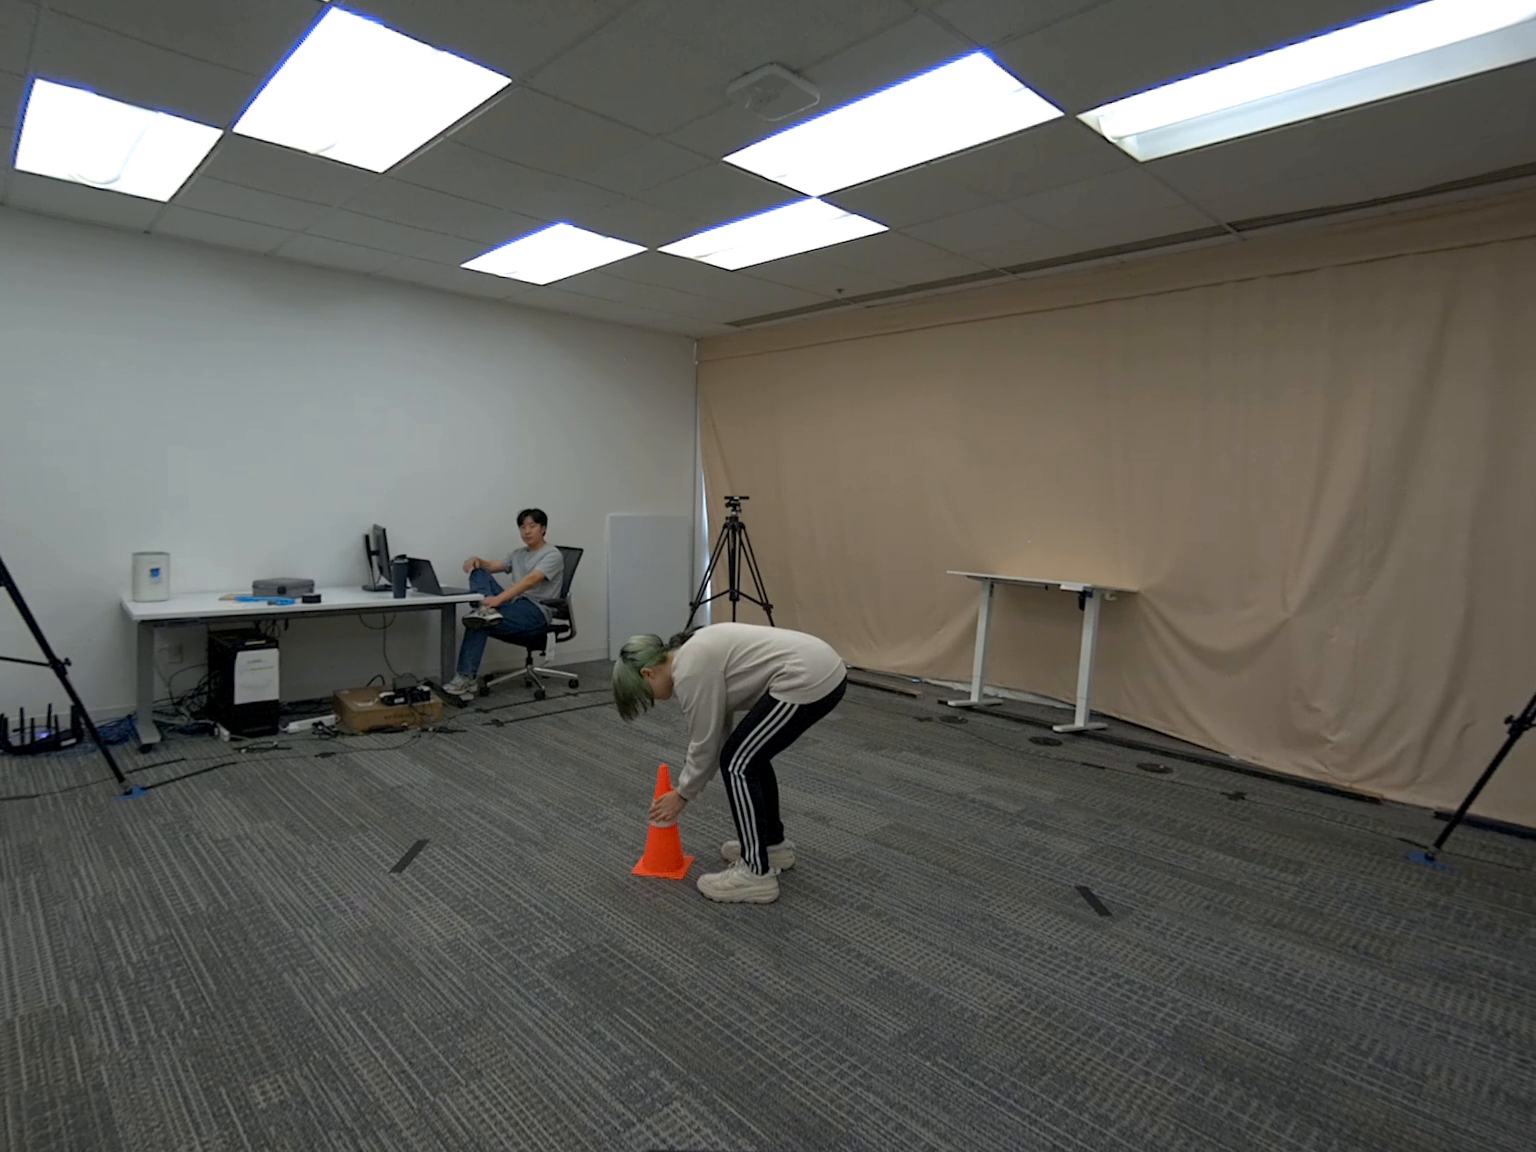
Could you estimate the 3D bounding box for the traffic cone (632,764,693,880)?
[{"bbox_3d":[-0.400,0.904,3.169,0.205,0.383,0.203,2,3,11],"label":"traffic cone"}]
